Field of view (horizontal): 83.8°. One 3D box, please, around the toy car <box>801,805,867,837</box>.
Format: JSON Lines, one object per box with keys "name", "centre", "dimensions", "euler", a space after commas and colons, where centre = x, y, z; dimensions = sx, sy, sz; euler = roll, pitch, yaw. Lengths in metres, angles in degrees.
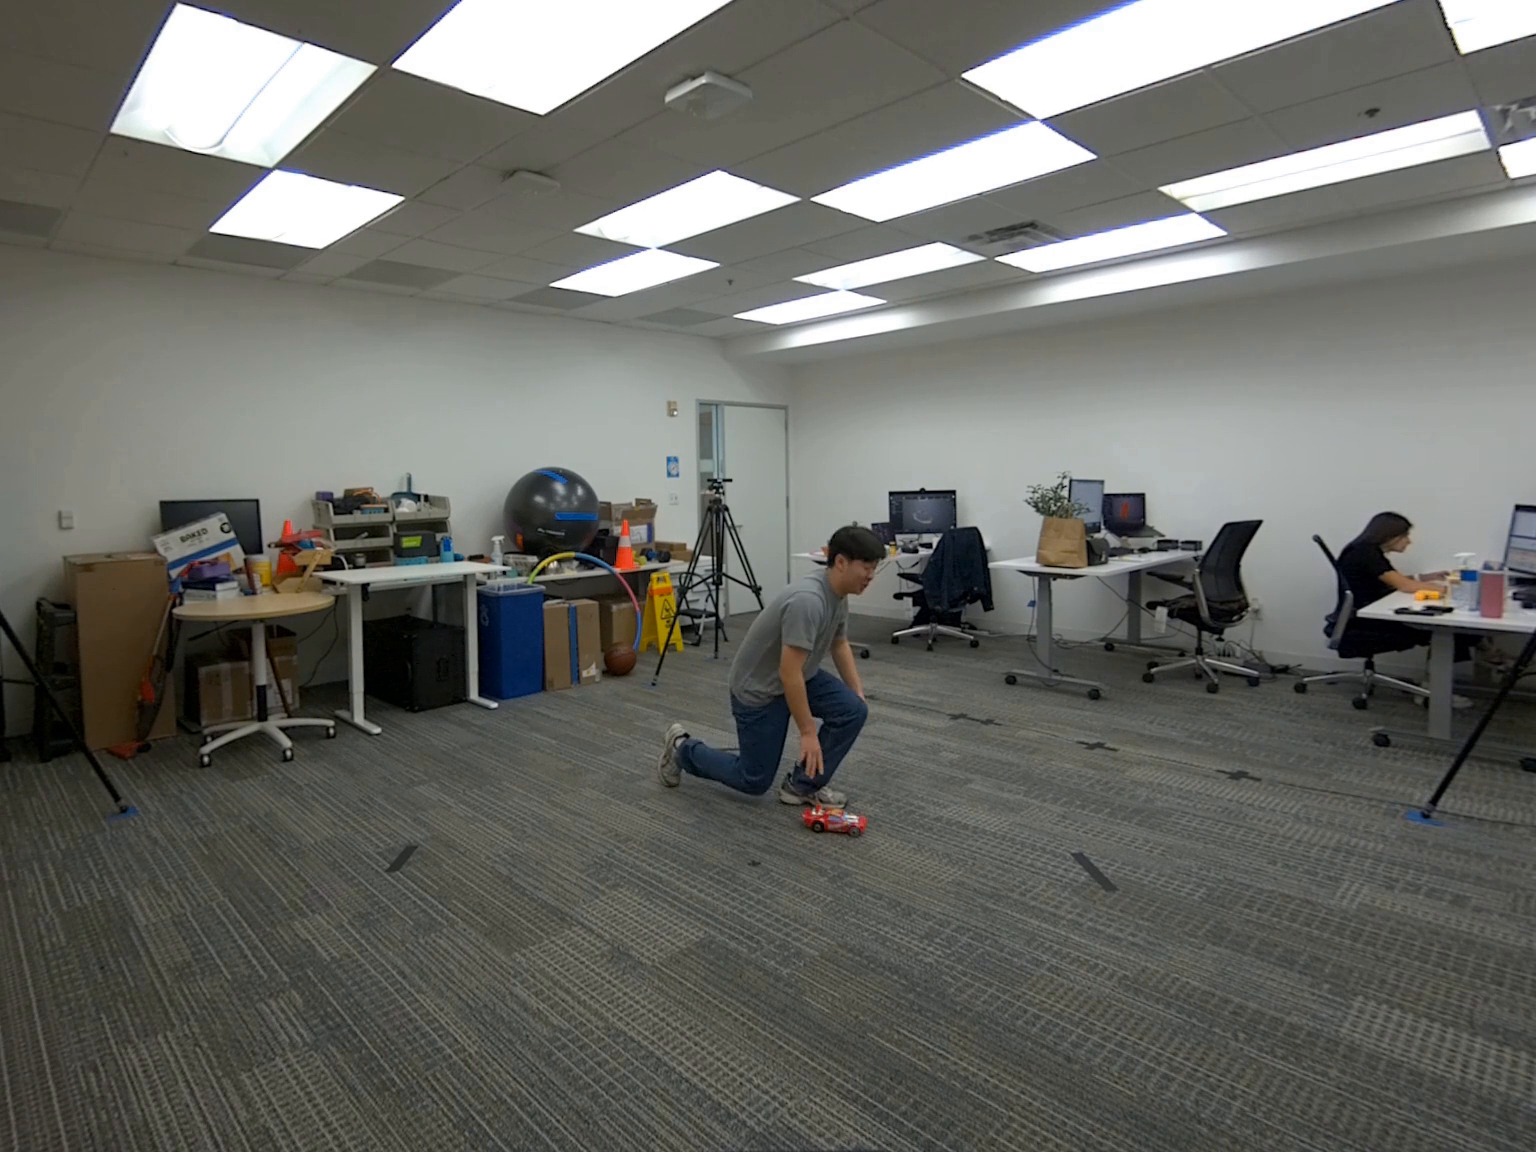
{"name": "toy car", "centre": [0.264, 0.980, 3.400], "dimensions": [0.260, 0.083, 0.128], "euler": [12, 9, 17]}
